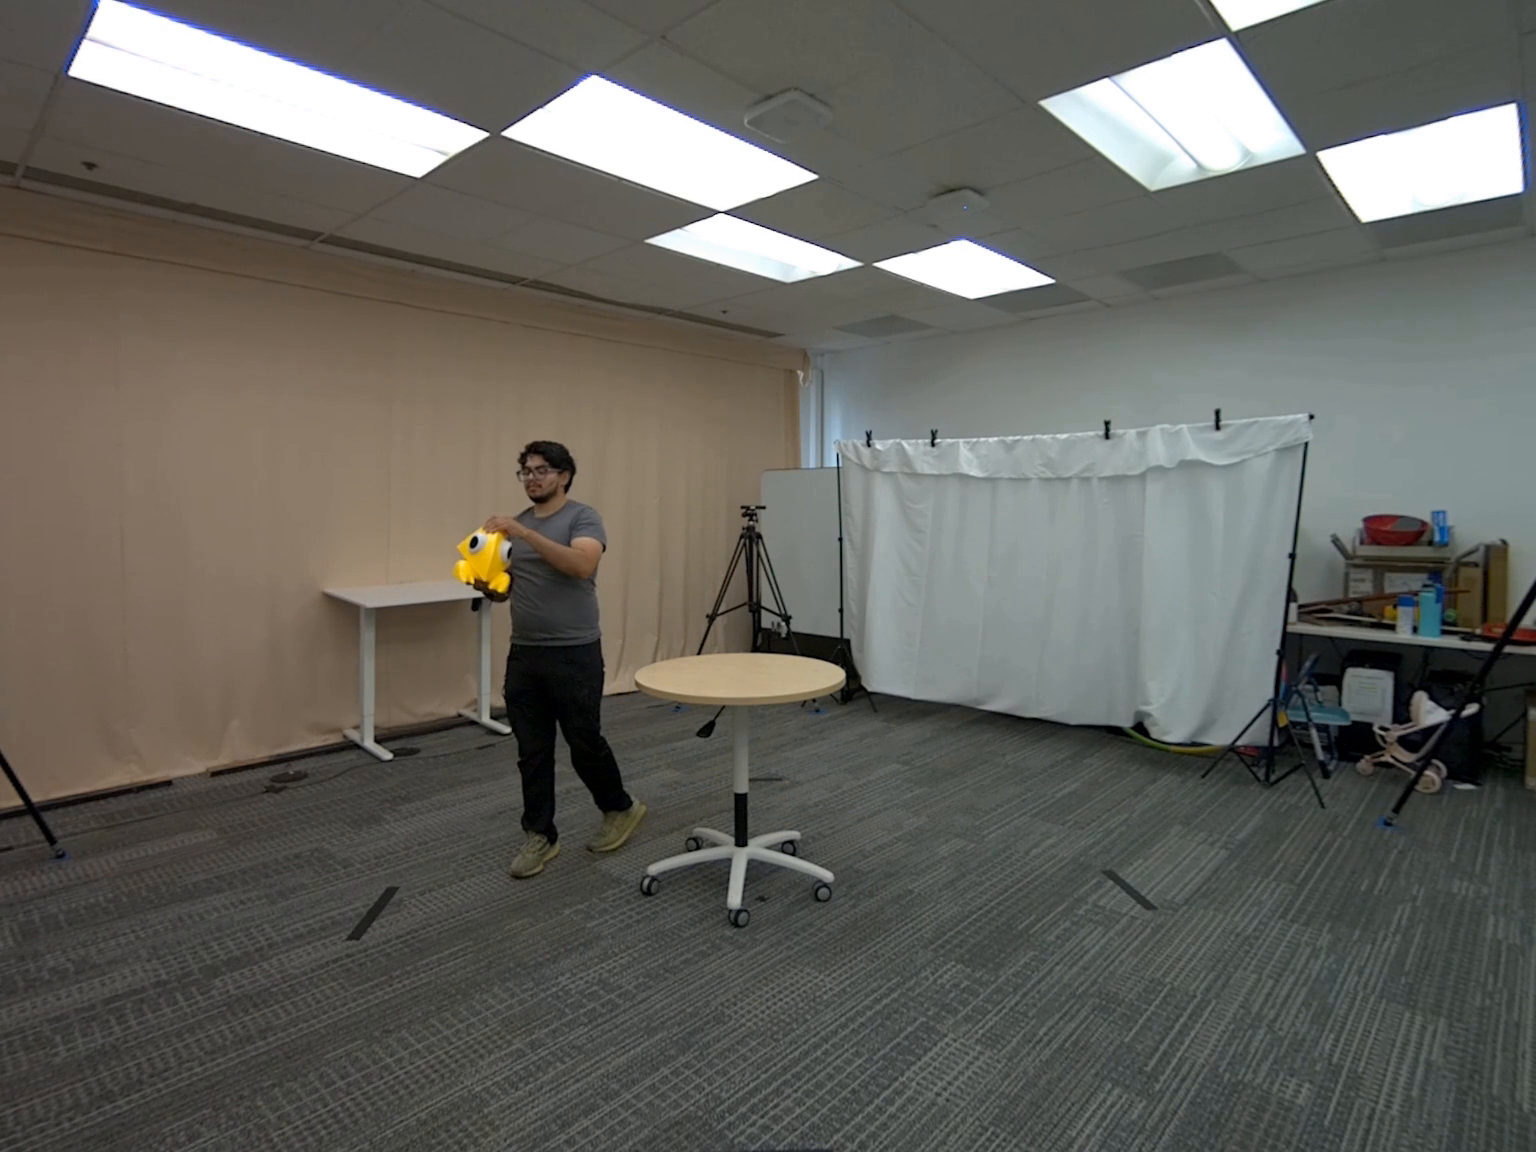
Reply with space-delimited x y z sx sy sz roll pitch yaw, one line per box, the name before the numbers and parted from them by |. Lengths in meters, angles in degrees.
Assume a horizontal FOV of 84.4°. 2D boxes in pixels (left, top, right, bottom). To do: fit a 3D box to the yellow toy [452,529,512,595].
yellow toy | -0.973 -0.086 2.986 0.199 0.230 0.199 16 5 -27
